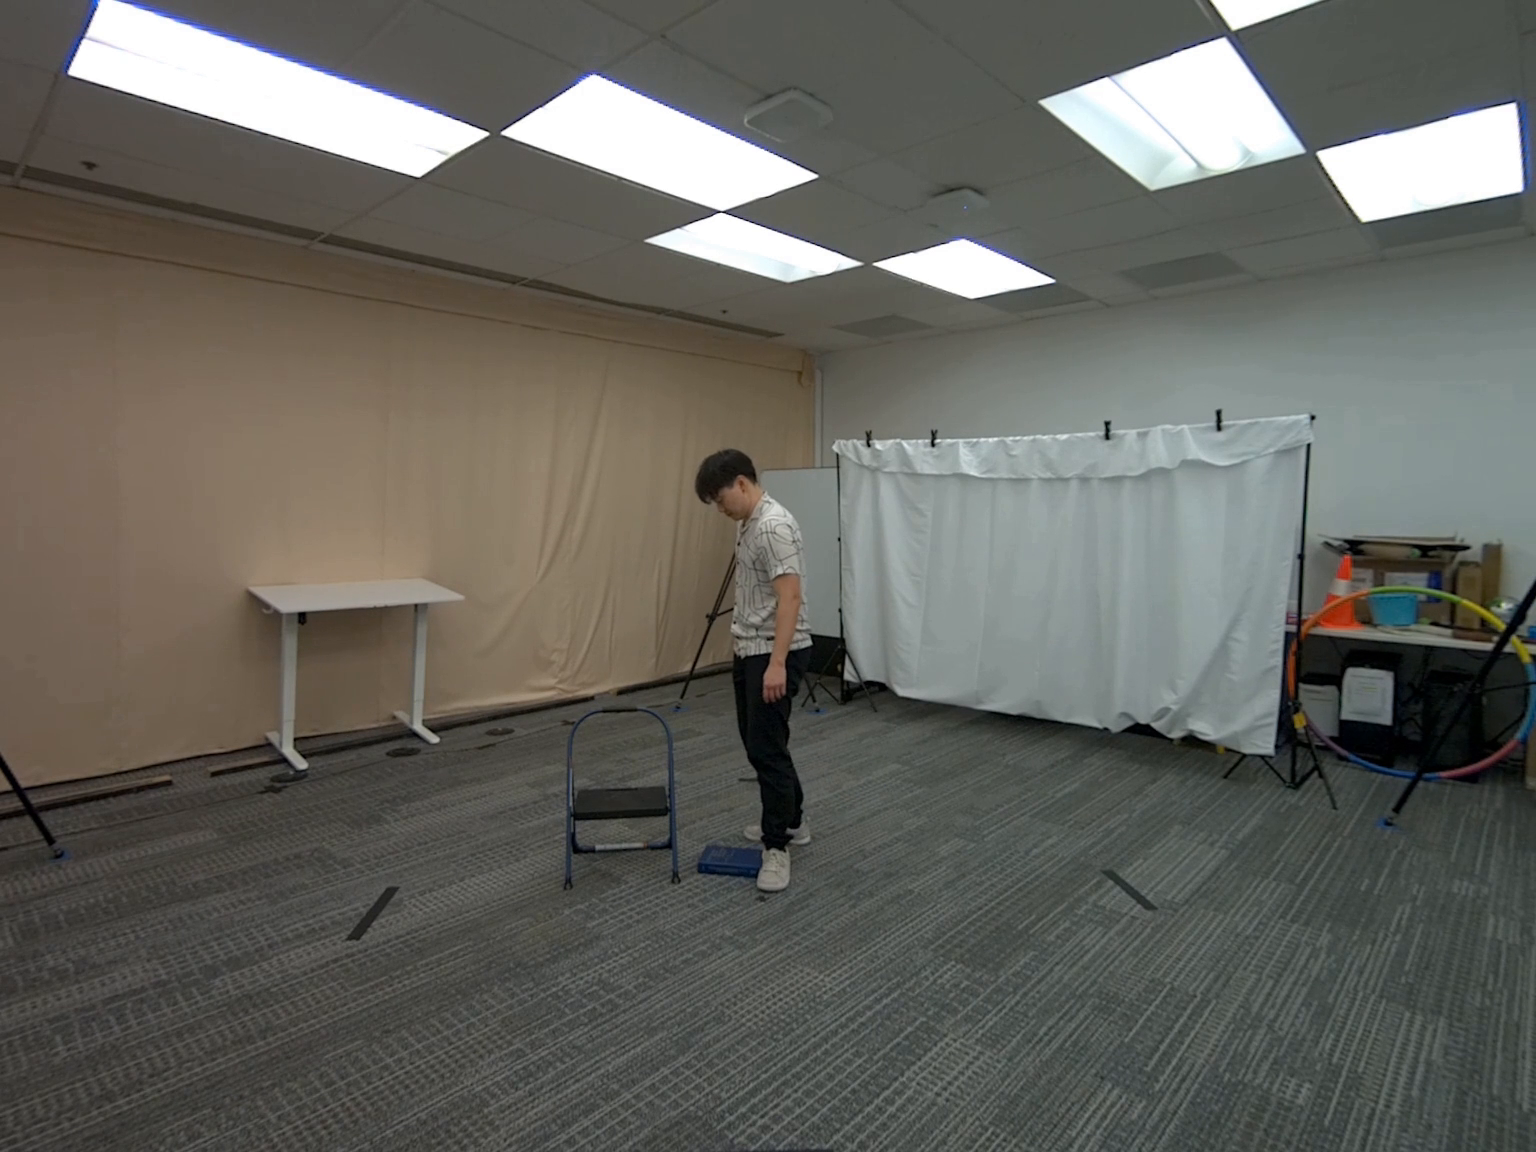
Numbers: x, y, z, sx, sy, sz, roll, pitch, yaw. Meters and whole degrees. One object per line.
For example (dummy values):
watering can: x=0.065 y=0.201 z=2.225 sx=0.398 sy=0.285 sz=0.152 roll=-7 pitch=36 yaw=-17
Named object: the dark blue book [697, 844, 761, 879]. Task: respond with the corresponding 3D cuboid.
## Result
dark blue book: x=-0.133 y=1.111 z=3.236 sx=0.248 sy=0.045 sz=0.162 roll=1 pitch=4 yaw=11
